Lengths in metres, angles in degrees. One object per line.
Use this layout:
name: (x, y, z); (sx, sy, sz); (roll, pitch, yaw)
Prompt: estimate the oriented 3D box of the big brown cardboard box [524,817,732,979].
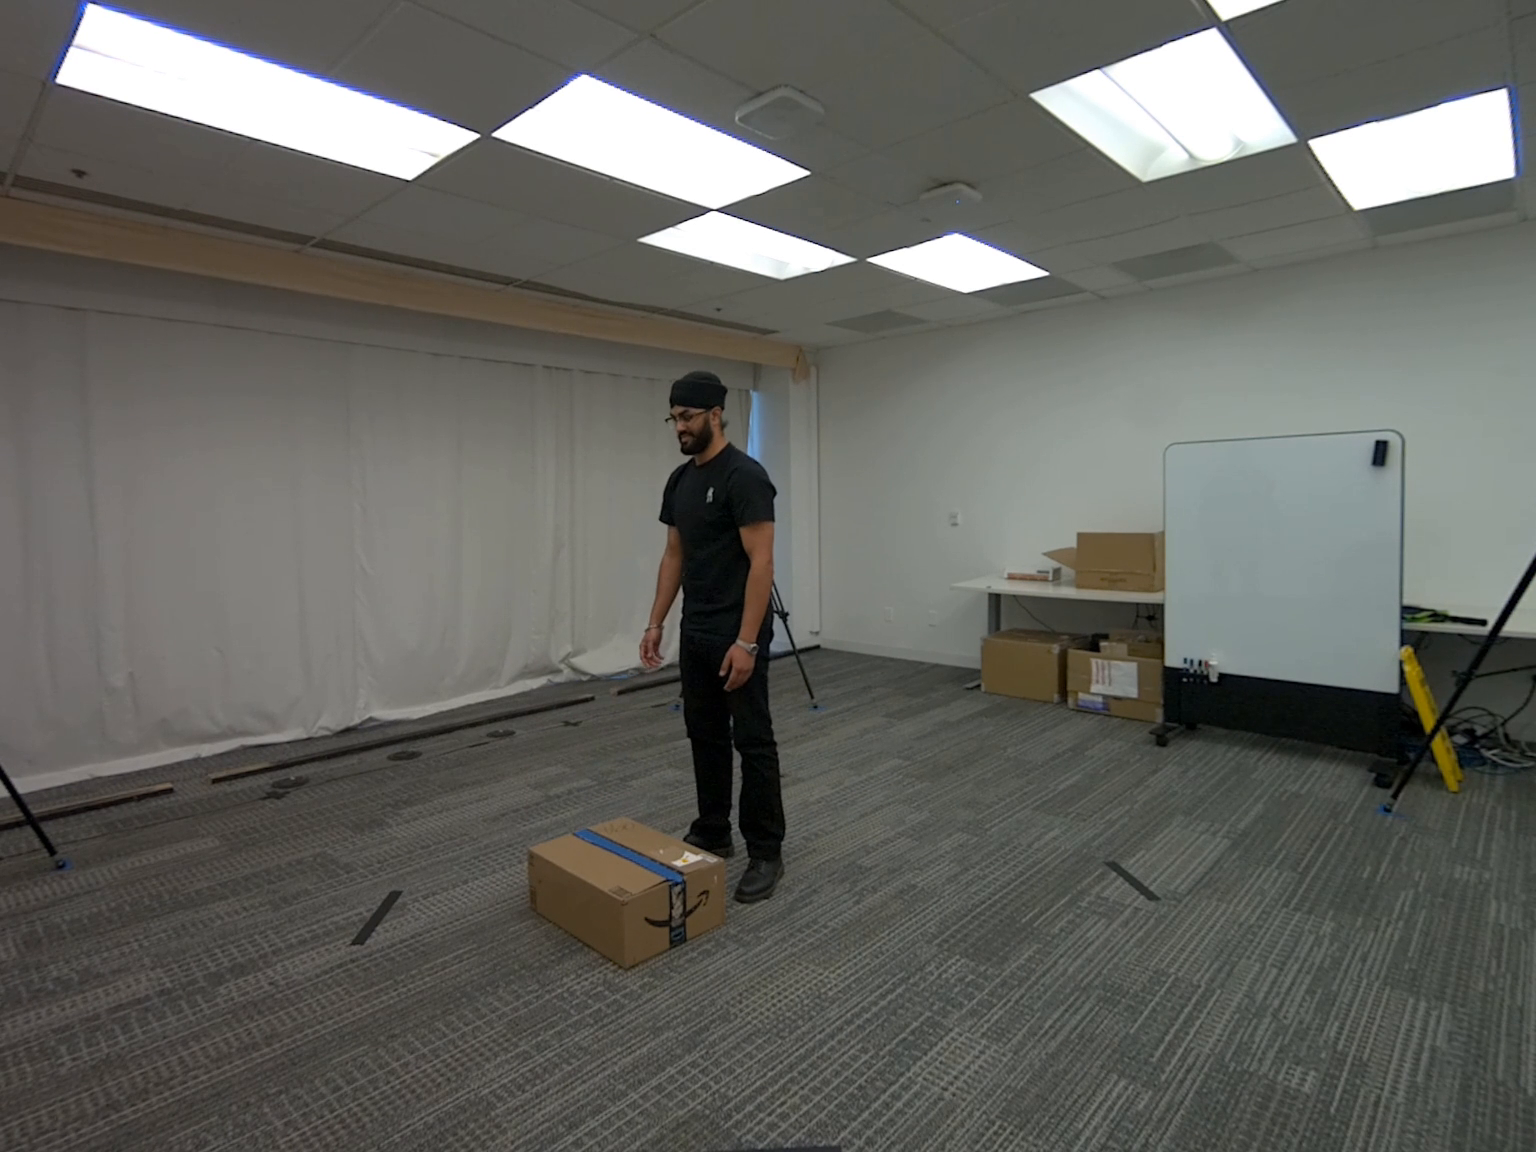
big brown cardboard box: (-0.483, 1.051, 2.859); (0.405, 0.233, 0.608); (-5, 5, -44)
